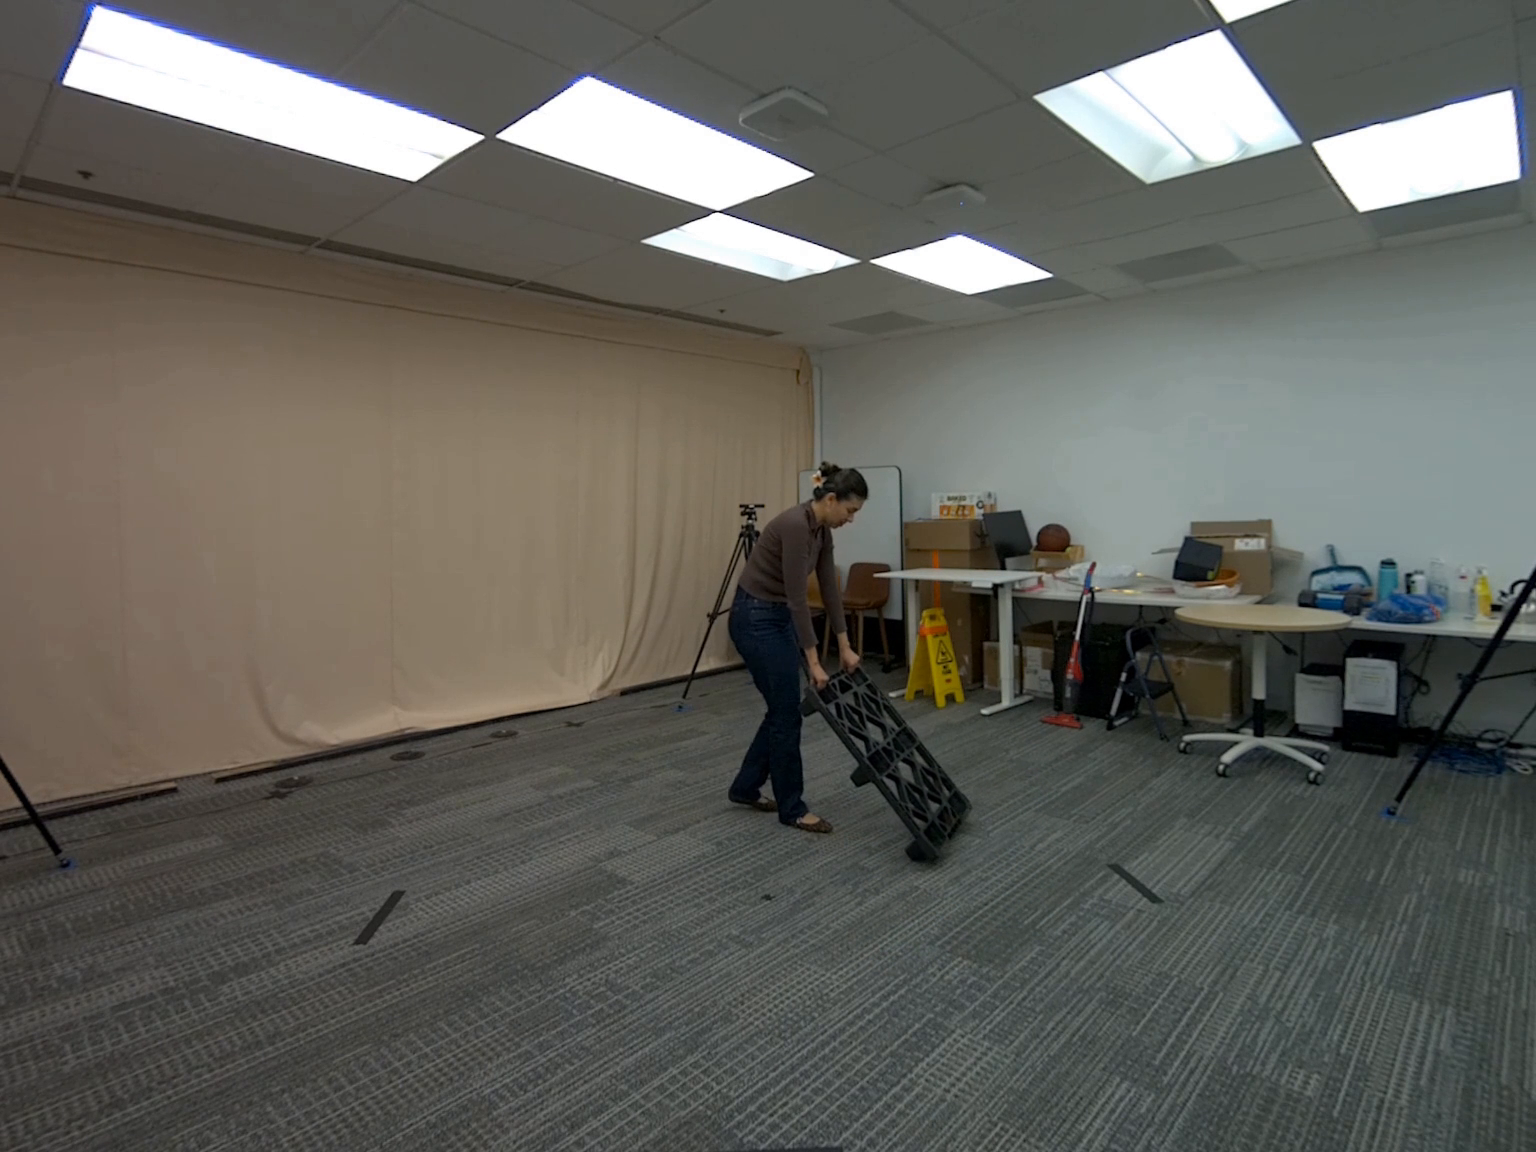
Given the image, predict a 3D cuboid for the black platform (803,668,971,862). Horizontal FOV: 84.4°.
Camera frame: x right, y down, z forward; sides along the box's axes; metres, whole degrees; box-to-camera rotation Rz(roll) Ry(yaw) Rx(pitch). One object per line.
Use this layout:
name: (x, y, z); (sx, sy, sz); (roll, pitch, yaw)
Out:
black platform: (0.488, 0.761, 3.546); (0.144, 0.820, 0.590); (-44, -16, 21)
